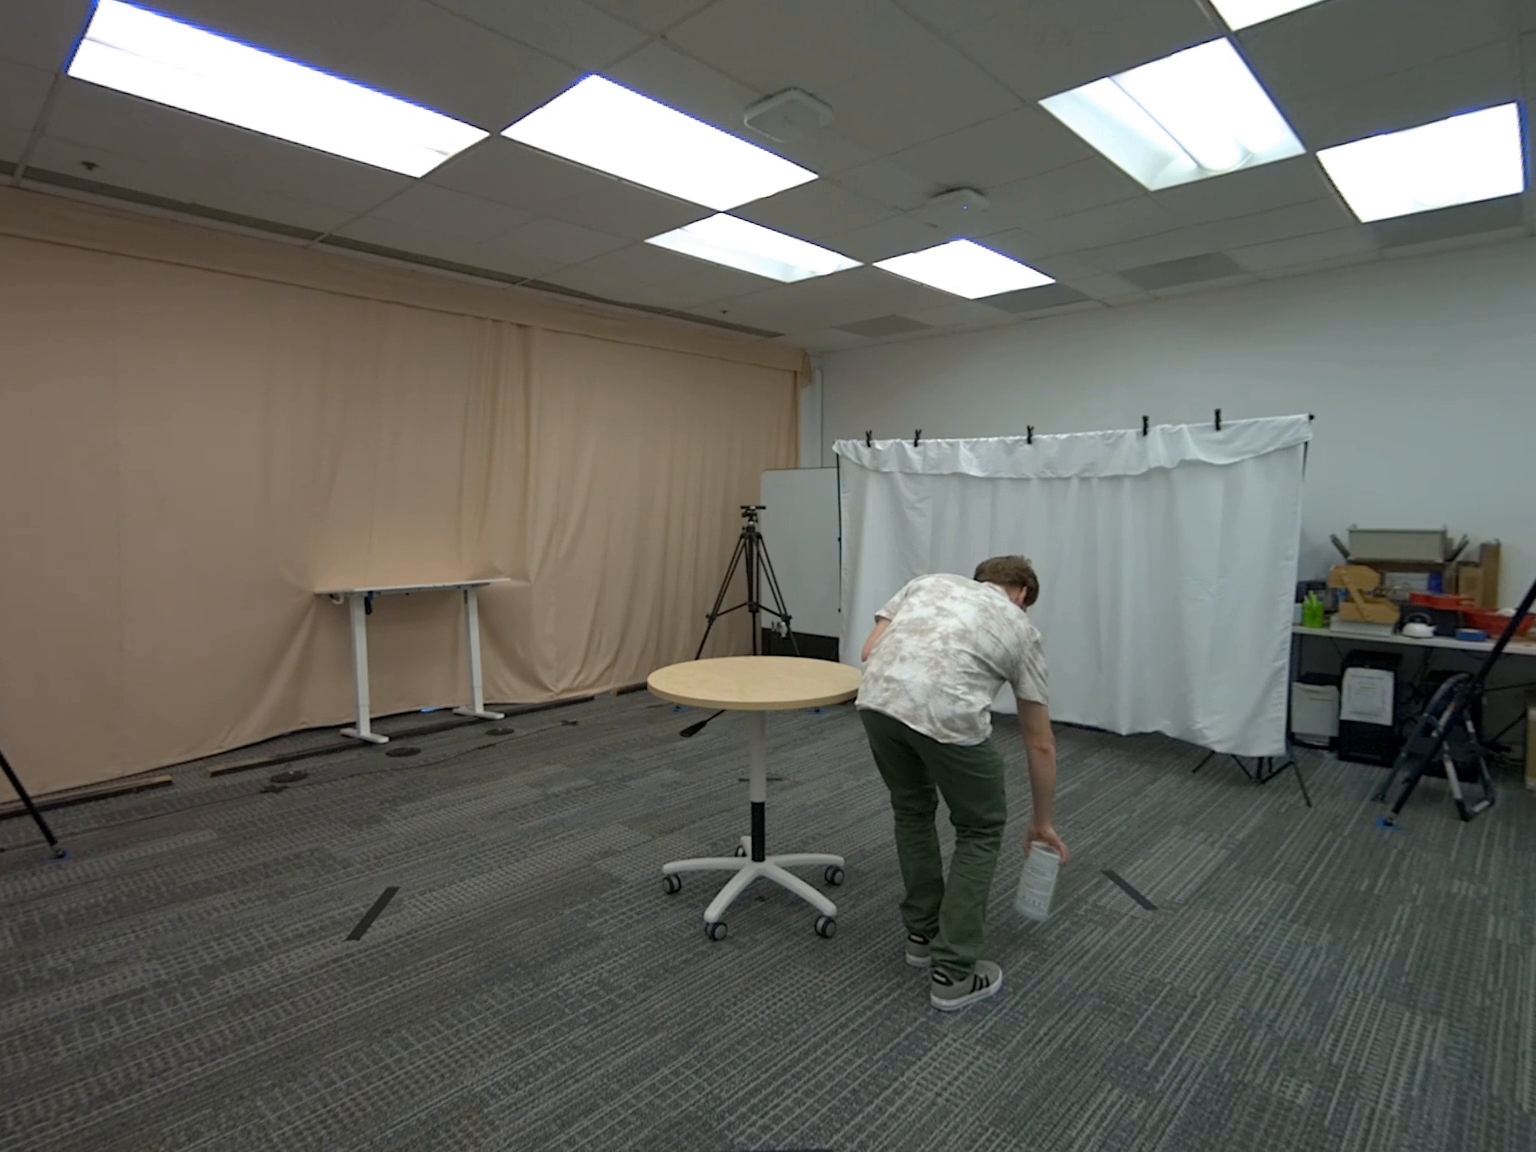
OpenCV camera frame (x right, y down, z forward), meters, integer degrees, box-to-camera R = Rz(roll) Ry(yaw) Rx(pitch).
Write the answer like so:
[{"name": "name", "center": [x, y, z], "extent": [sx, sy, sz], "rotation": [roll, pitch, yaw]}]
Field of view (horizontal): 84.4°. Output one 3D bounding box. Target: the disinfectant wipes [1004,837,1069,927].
[{"name": "disinfectant wipes", "center": [0.842, 0.960, 2.672], "extent": [0.117, 0.217, 0.118], "rotation": [11, 1, -2]}]
